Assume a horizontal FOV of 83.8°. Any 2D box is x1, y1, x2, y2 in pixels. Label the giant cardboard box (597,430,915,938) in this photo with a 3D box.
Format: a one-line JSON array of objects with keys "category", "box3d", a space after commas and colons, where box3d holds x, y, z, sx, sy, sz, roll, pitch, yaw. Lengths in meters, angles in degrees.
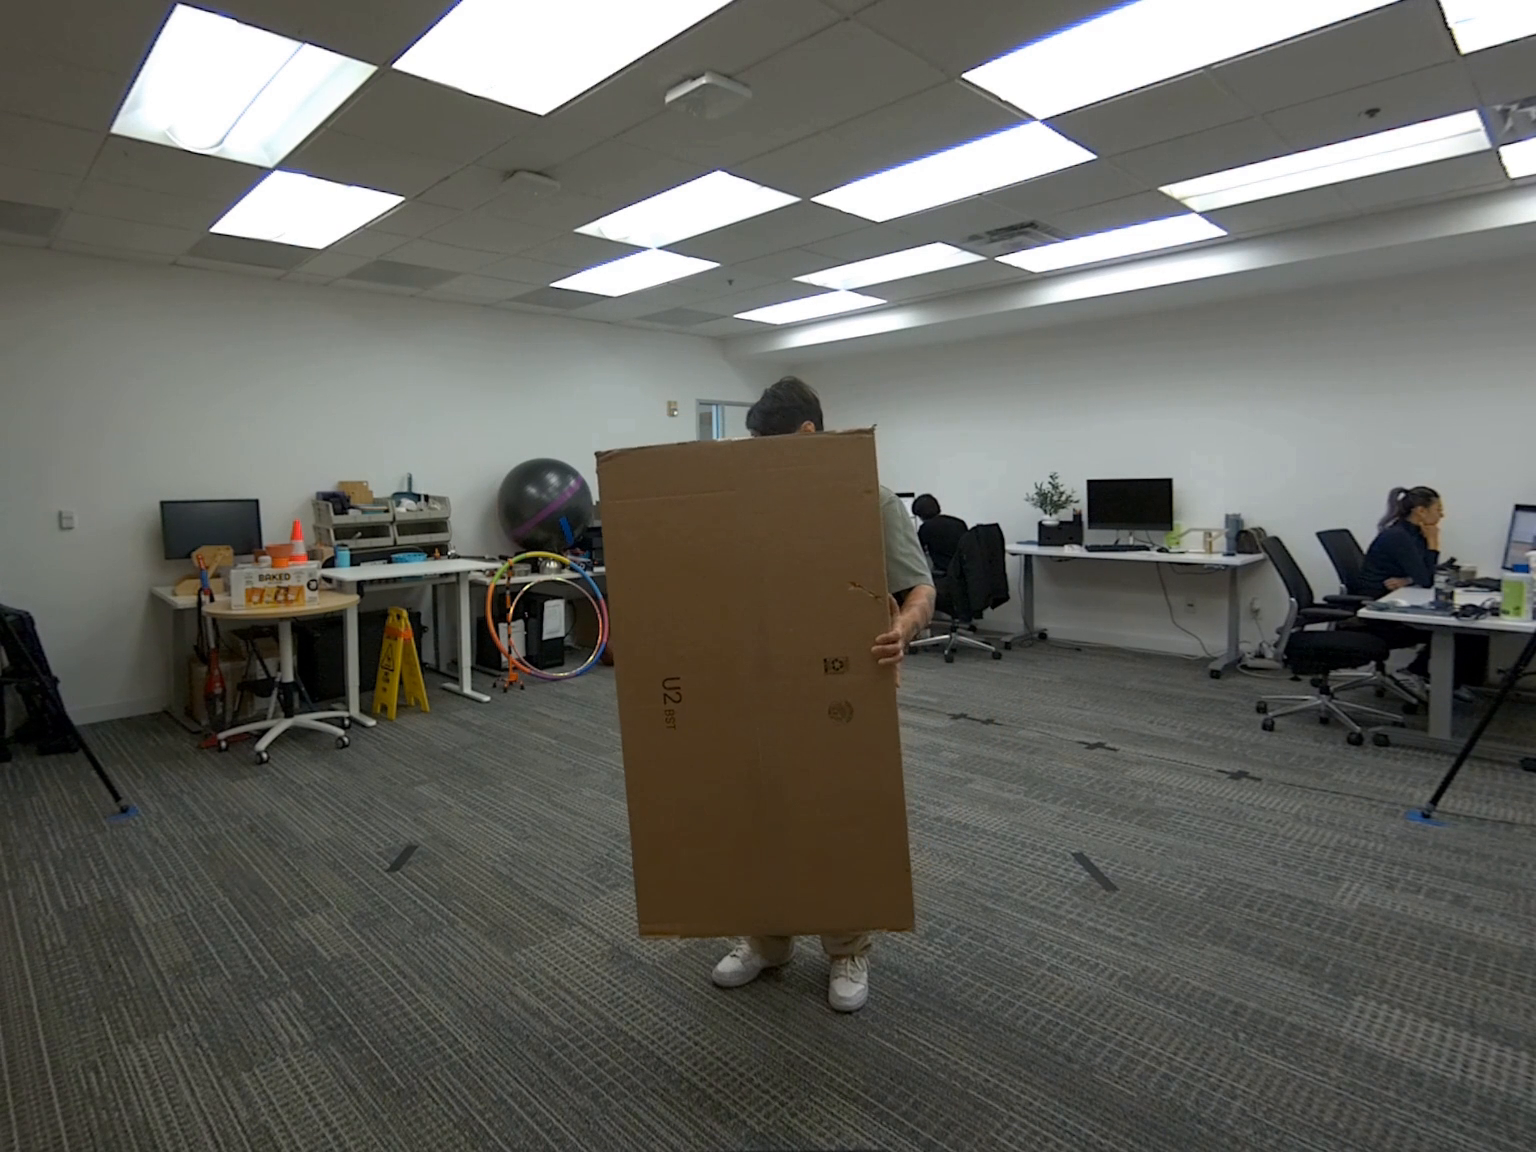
[{"category": "giant cardboard box", "box3d": [-0.008, 0.222, 1.932, 0.580, 1.023, 0.426, -5, 3, 4]}]
